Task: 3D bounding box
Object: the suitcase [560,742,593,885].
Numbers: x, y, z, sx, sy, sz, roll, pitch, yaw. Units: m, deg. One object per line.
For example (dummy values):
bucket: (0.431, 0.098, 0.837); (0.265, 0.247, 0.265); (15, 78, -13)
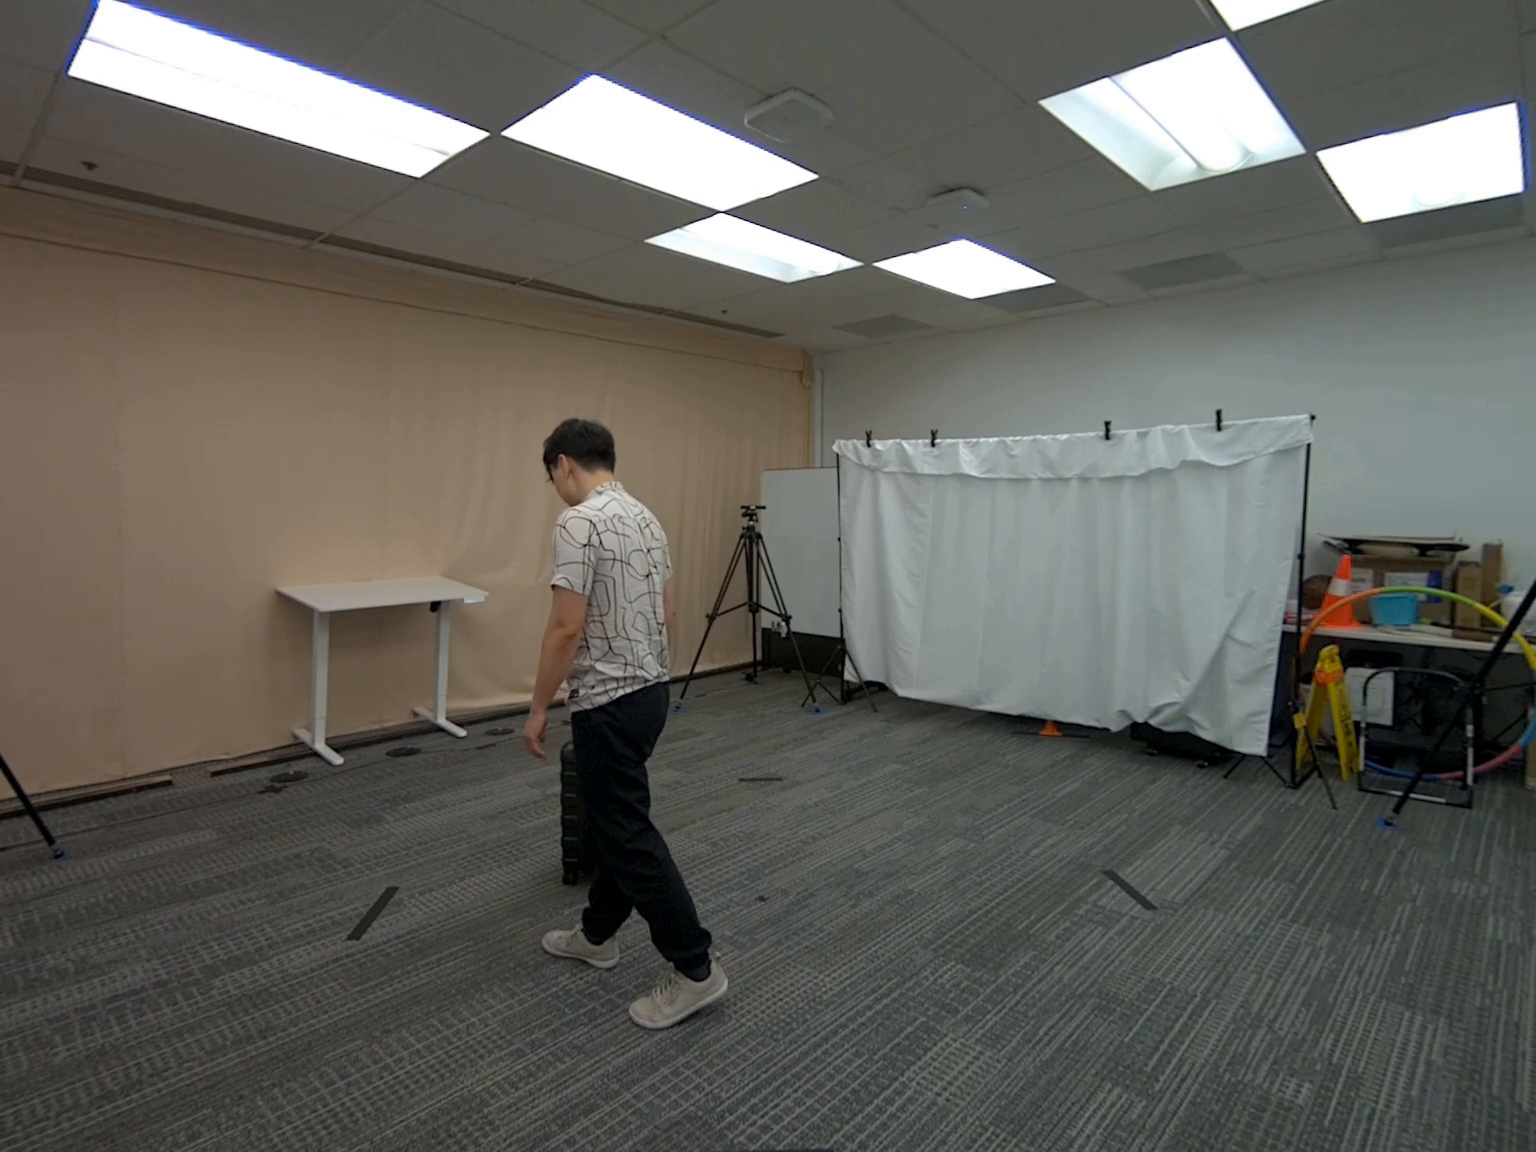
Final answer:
suitcase: (-0.641, 0.855, 3.223); (0.248, 0.548, 0.376); (0, 5, -1)
